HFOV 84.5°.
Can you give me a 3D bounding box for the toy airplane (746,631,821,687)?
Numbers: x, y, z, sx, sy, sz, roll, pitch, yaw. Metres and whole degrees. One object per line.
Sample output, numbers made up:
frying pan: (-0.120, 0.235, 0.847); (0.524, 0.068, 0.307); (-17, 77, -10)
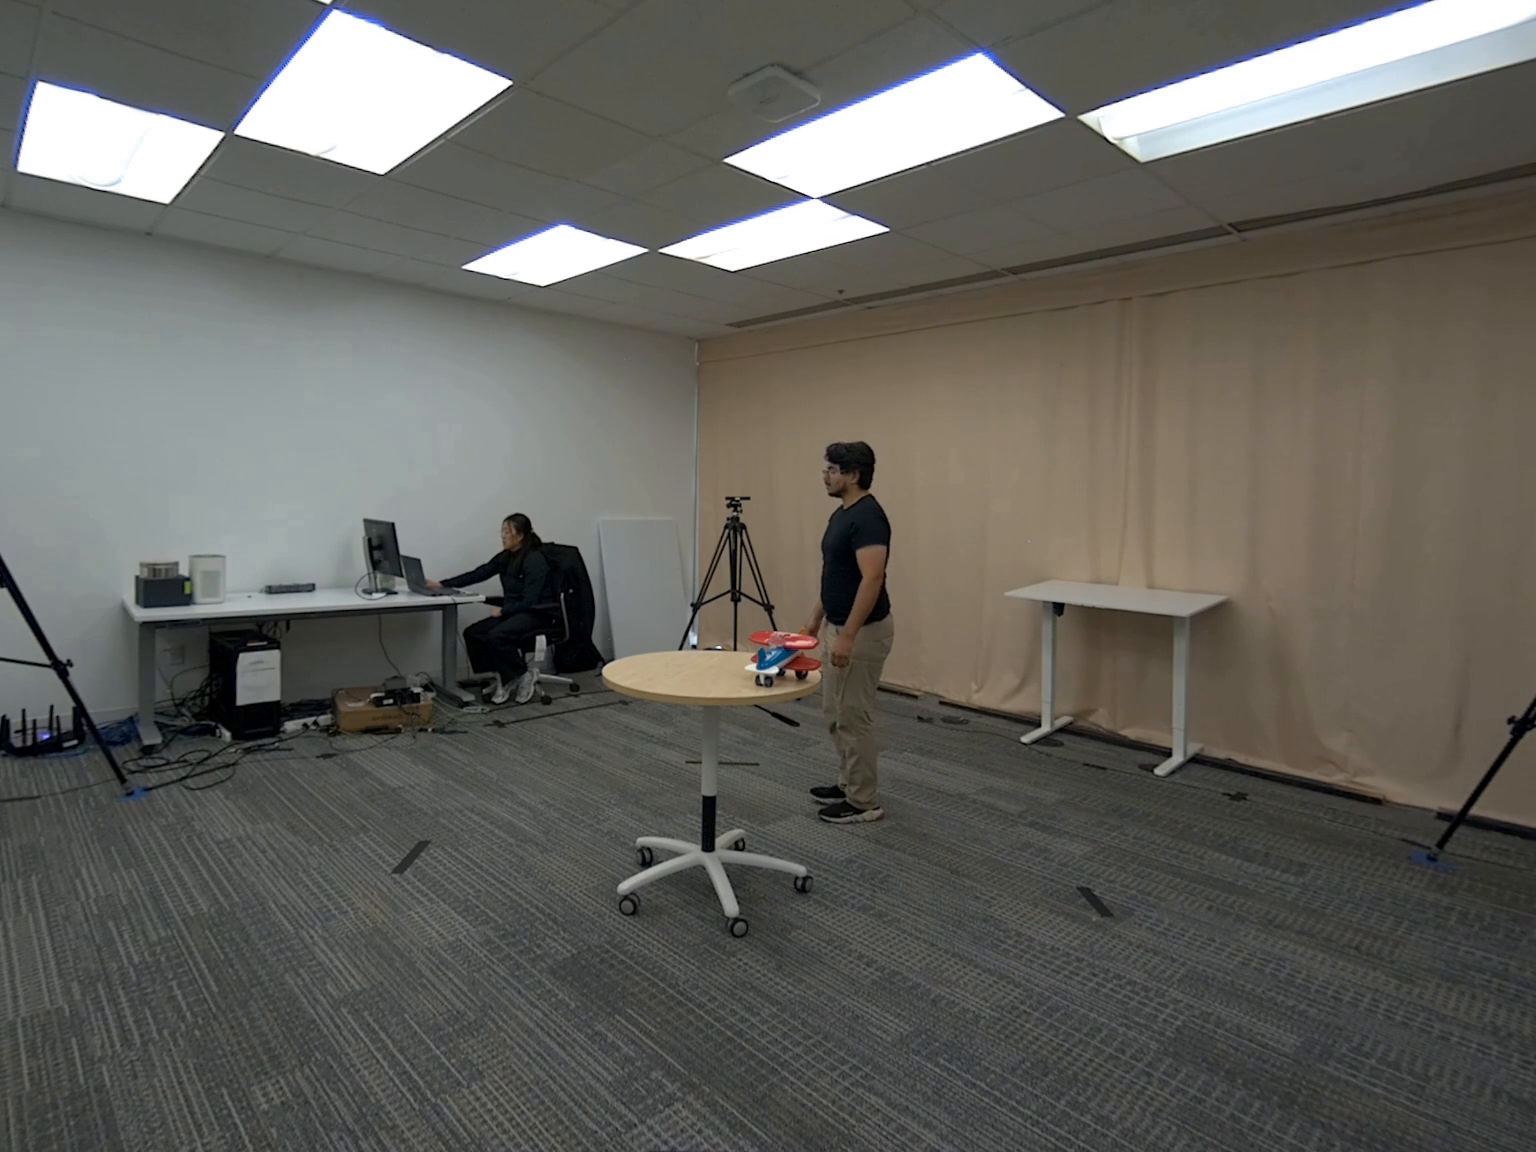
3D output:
toy airplane: (0.050, 0.280, 2.804); (0.252, 0.156, 0.259); (2, 4, 3)
